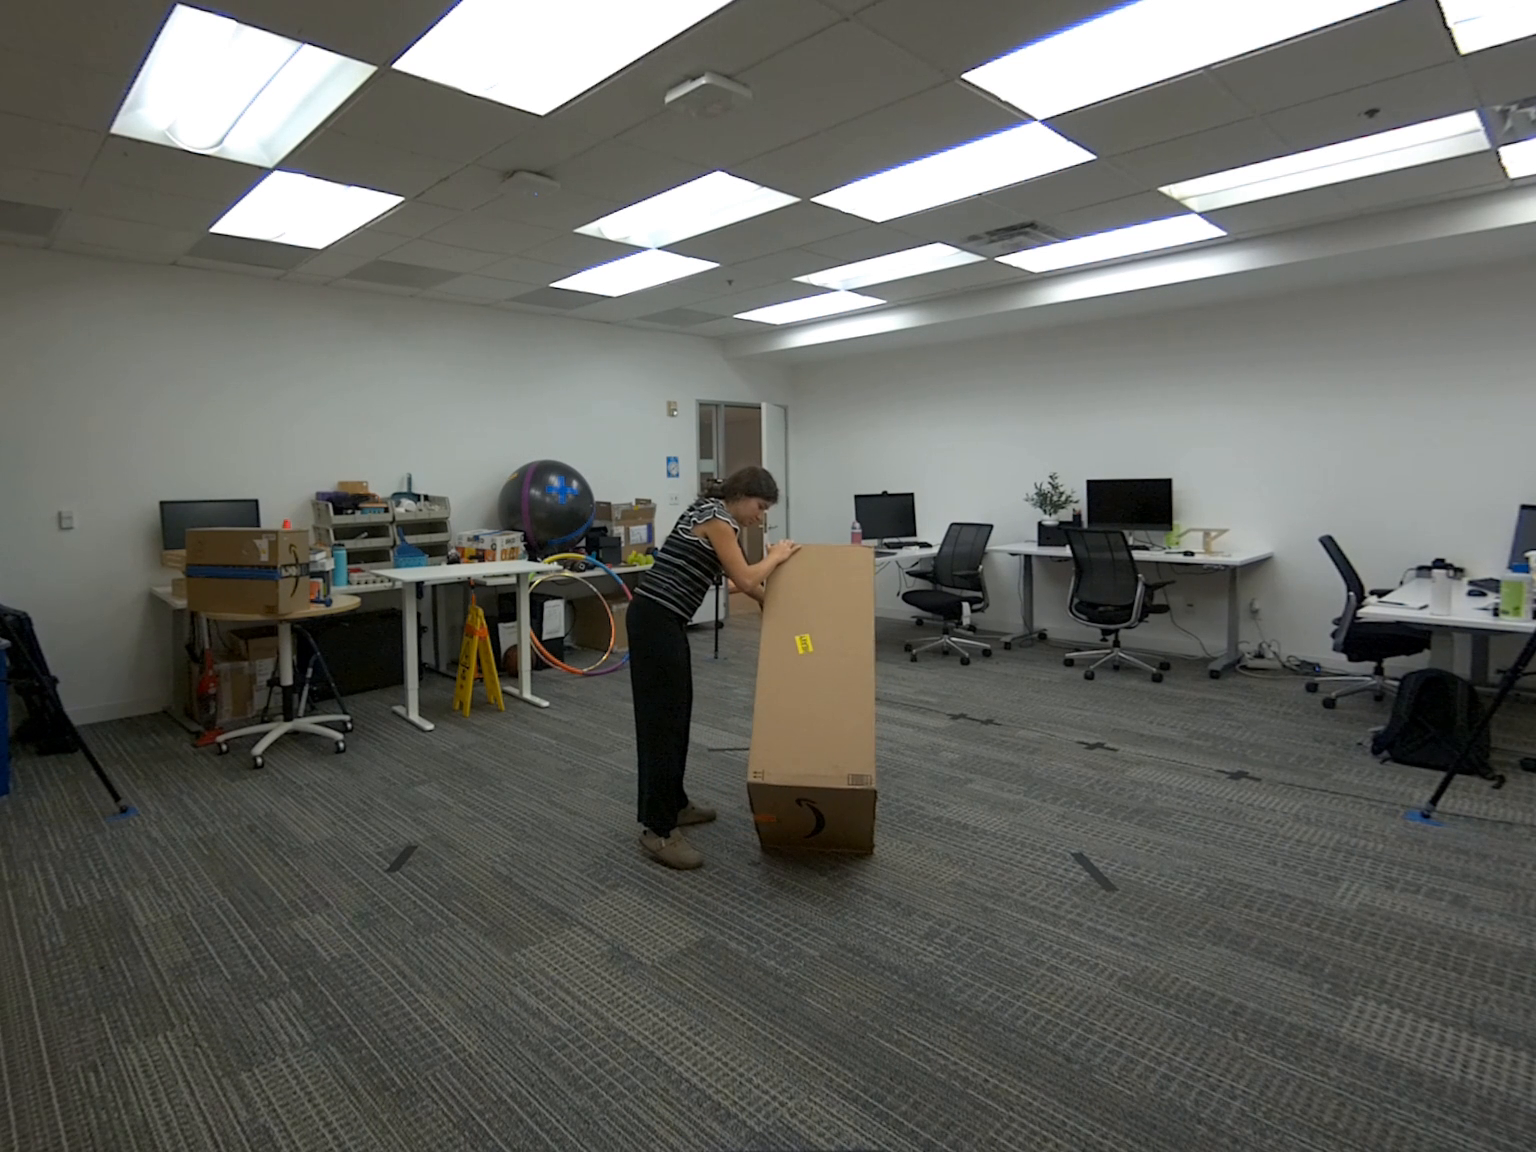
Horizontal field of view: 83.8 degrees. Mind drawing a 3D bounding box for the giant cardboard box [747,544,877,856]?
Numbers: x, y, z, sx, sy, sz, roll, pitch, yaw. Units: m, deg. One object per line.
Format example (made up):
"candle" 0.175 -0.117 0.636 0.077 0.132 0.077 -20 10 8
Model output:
"giant cardboard box" 0.197 0.455 3.314 0.430 1.049 0.560 0 -39 7
